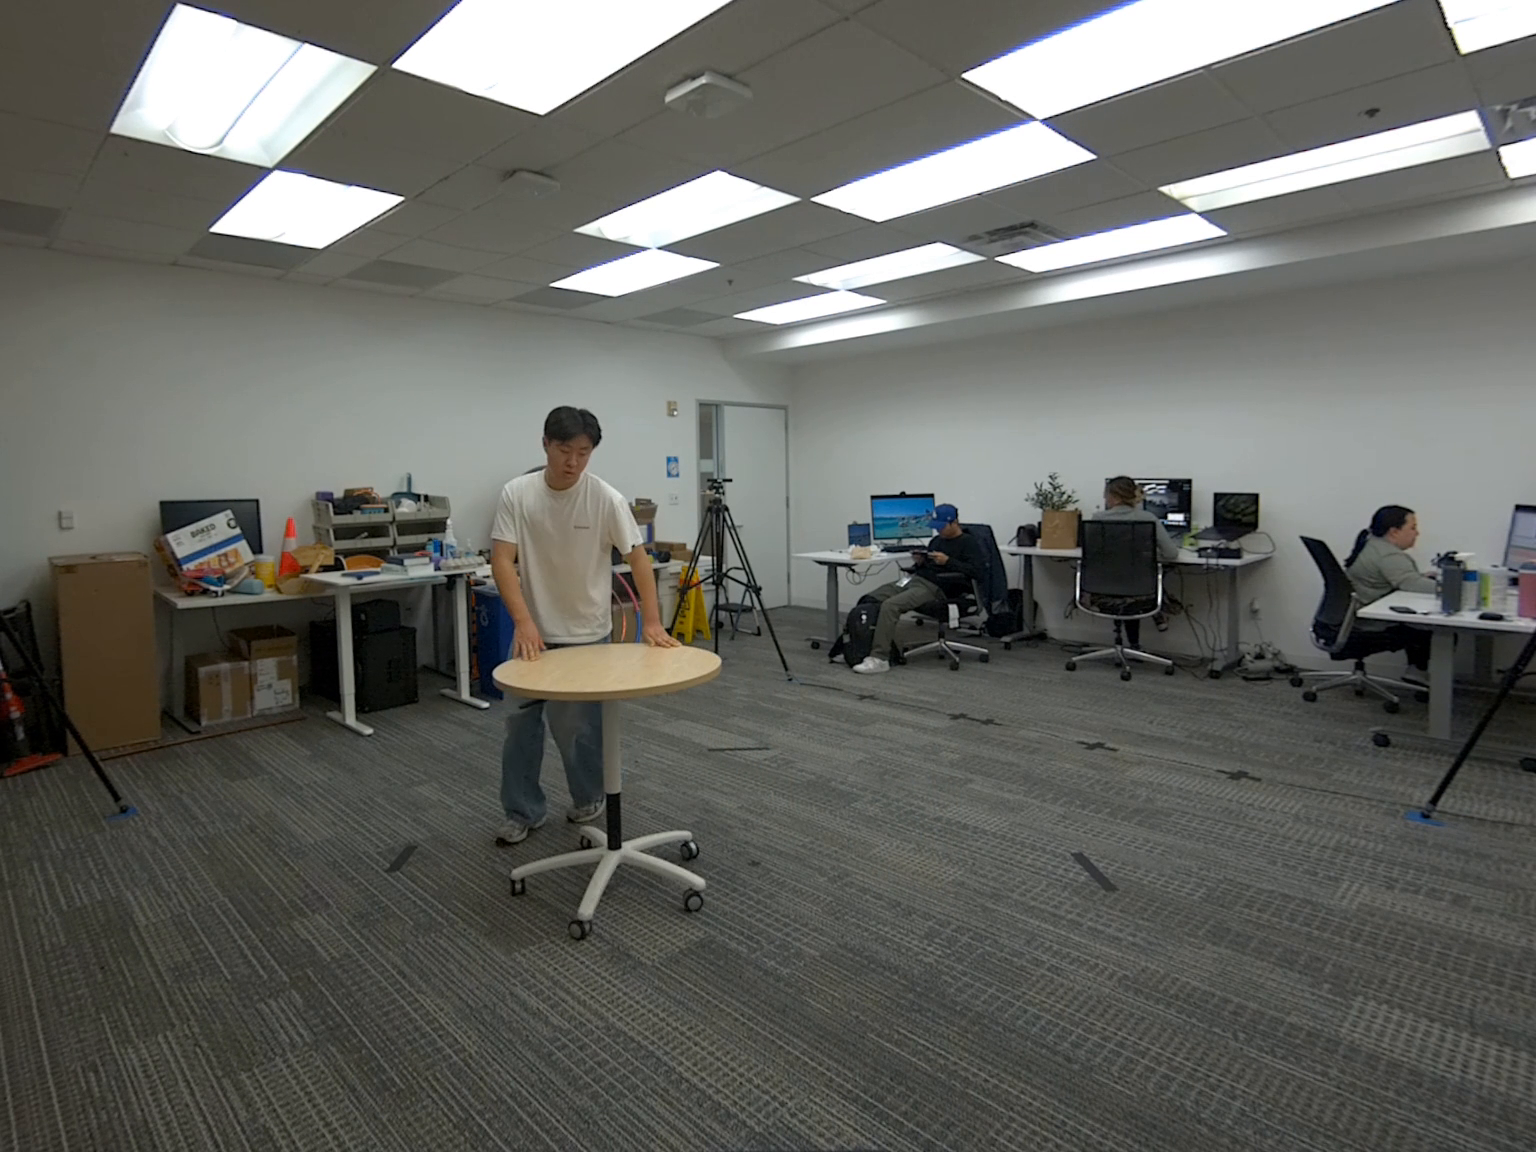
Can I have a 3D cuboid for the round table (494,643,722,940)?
[{"bbox_3d":[-0.525,0.690,2.921,0.763,0.791,0.768,-1,4,-2],"label":"round table"}]
